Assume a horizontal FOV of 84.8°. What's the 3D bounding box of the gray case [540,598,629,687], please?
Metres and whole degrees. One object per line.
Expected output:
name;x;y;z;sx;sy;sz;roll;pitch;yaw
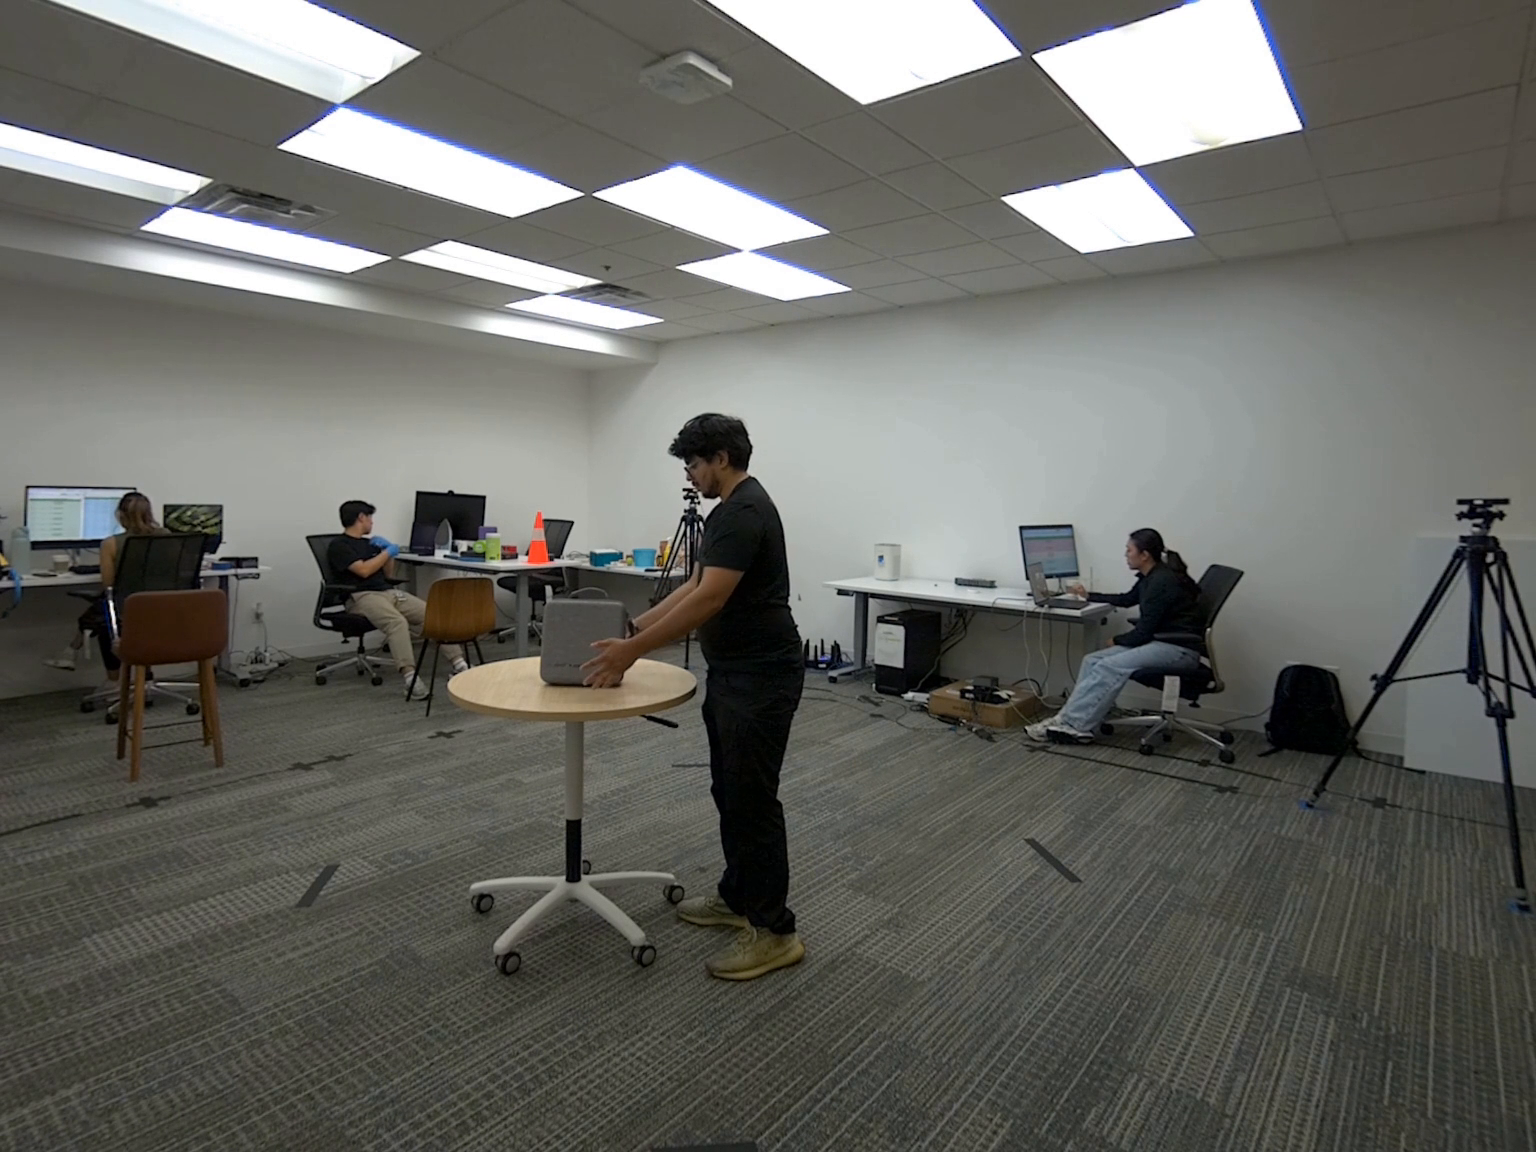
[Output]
gray case;-0.583;0.197;2.637;0.257;0.262;0.104;3;-6;0
